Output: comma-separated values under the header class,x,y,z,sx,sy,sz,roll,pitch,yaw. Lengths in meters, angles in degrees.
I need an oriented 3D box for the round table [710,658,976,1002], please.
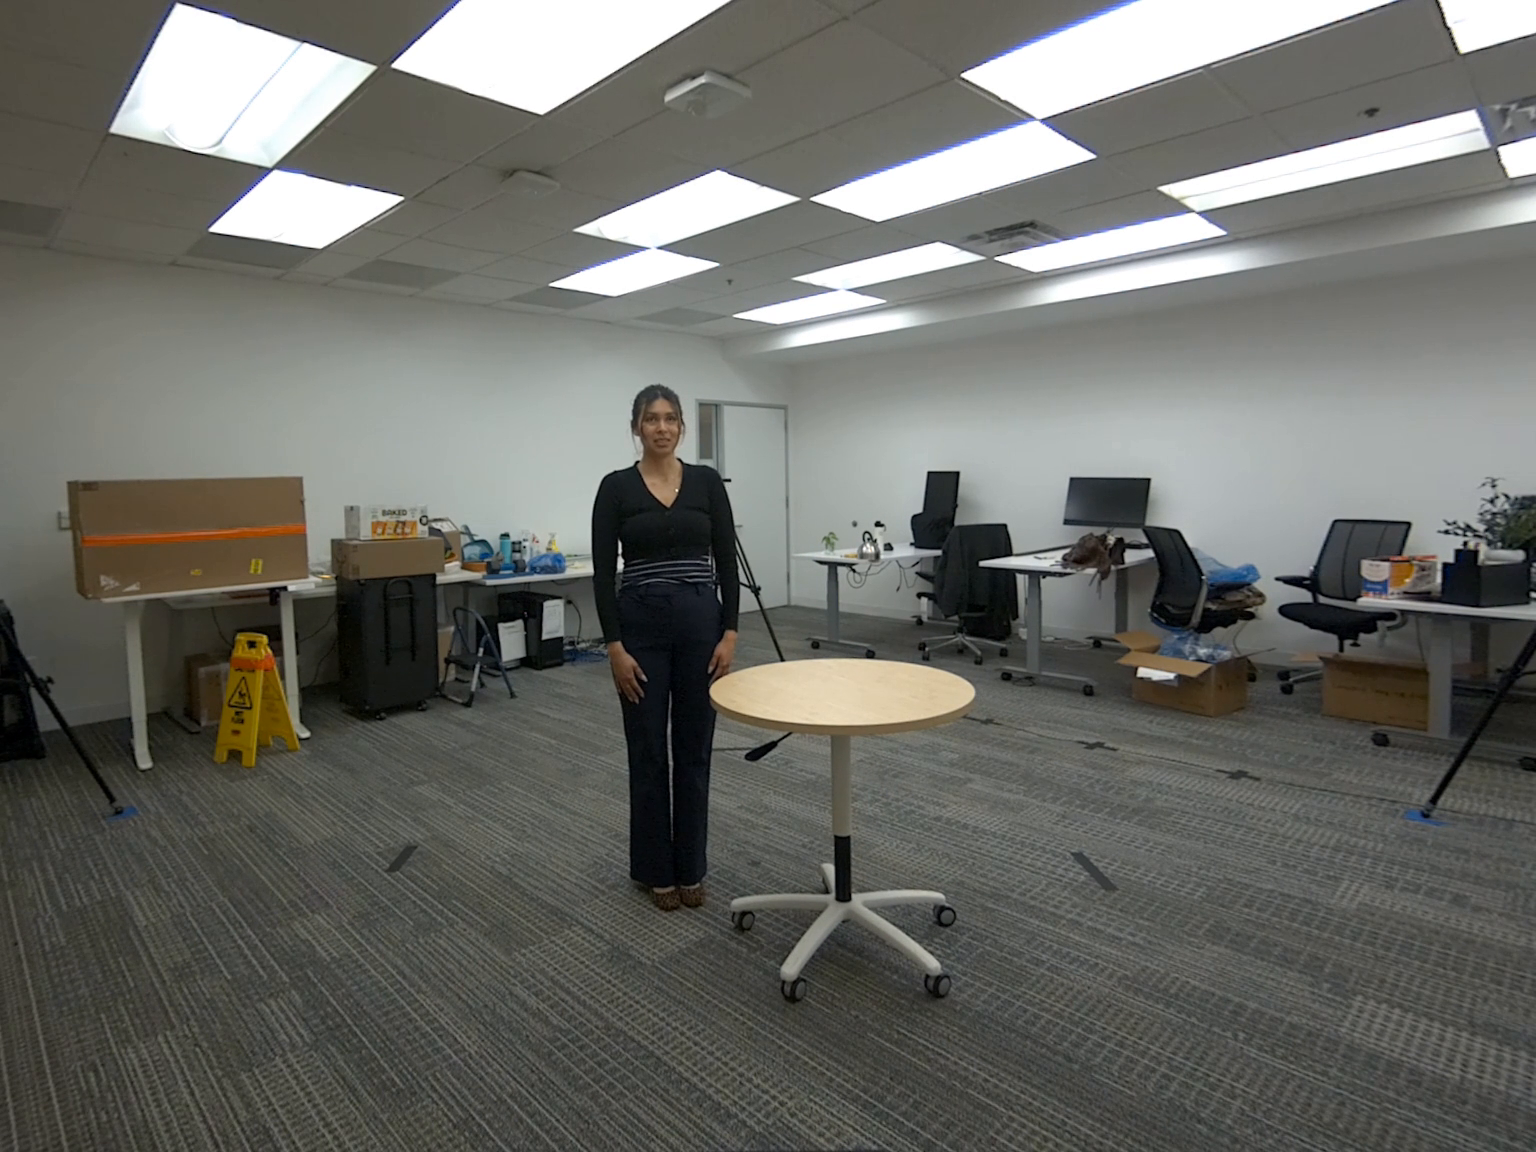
class,x,y,z,sx,sy,sz,roll,pitch,yaw
round table,0.229,0.717,2.536,0.763,0.790,0.768,-2,6,-2
